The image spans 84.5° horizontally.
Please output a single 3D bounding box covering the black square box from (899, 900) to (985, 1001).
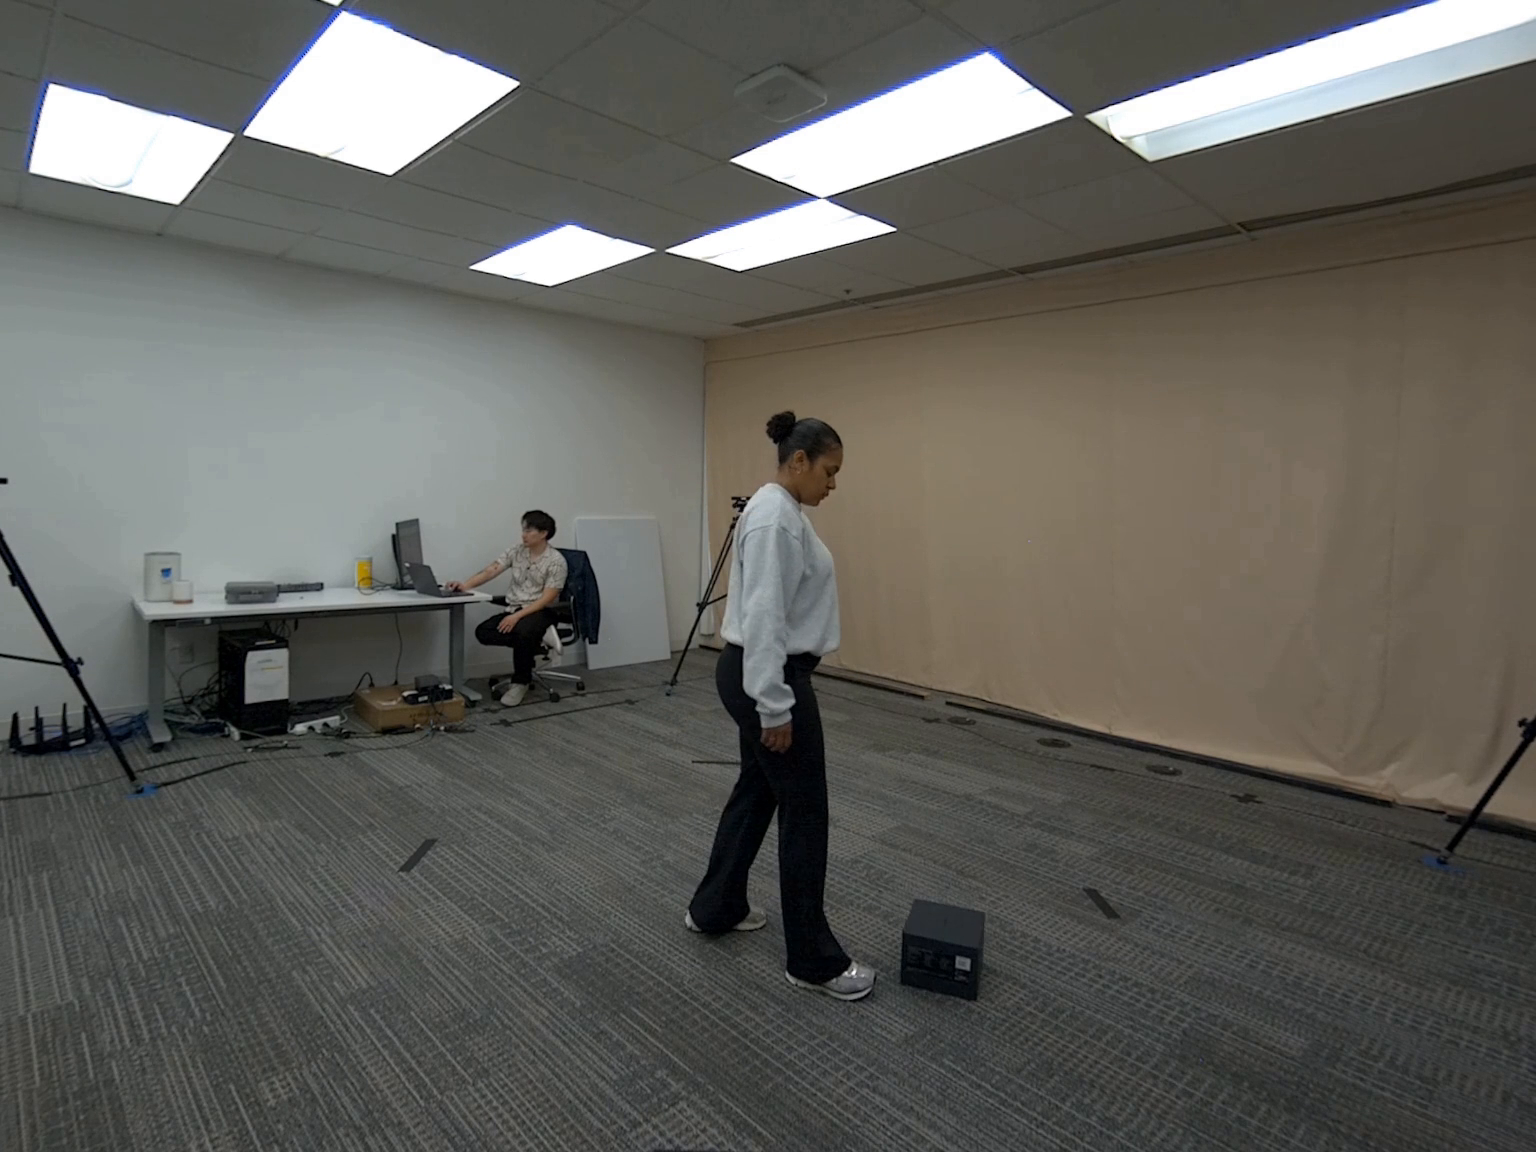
[{"bbox_3d":[0.501,1.095,2.486,0.220,0.155,0.225,3,5,20],"label":"black square box"}]
